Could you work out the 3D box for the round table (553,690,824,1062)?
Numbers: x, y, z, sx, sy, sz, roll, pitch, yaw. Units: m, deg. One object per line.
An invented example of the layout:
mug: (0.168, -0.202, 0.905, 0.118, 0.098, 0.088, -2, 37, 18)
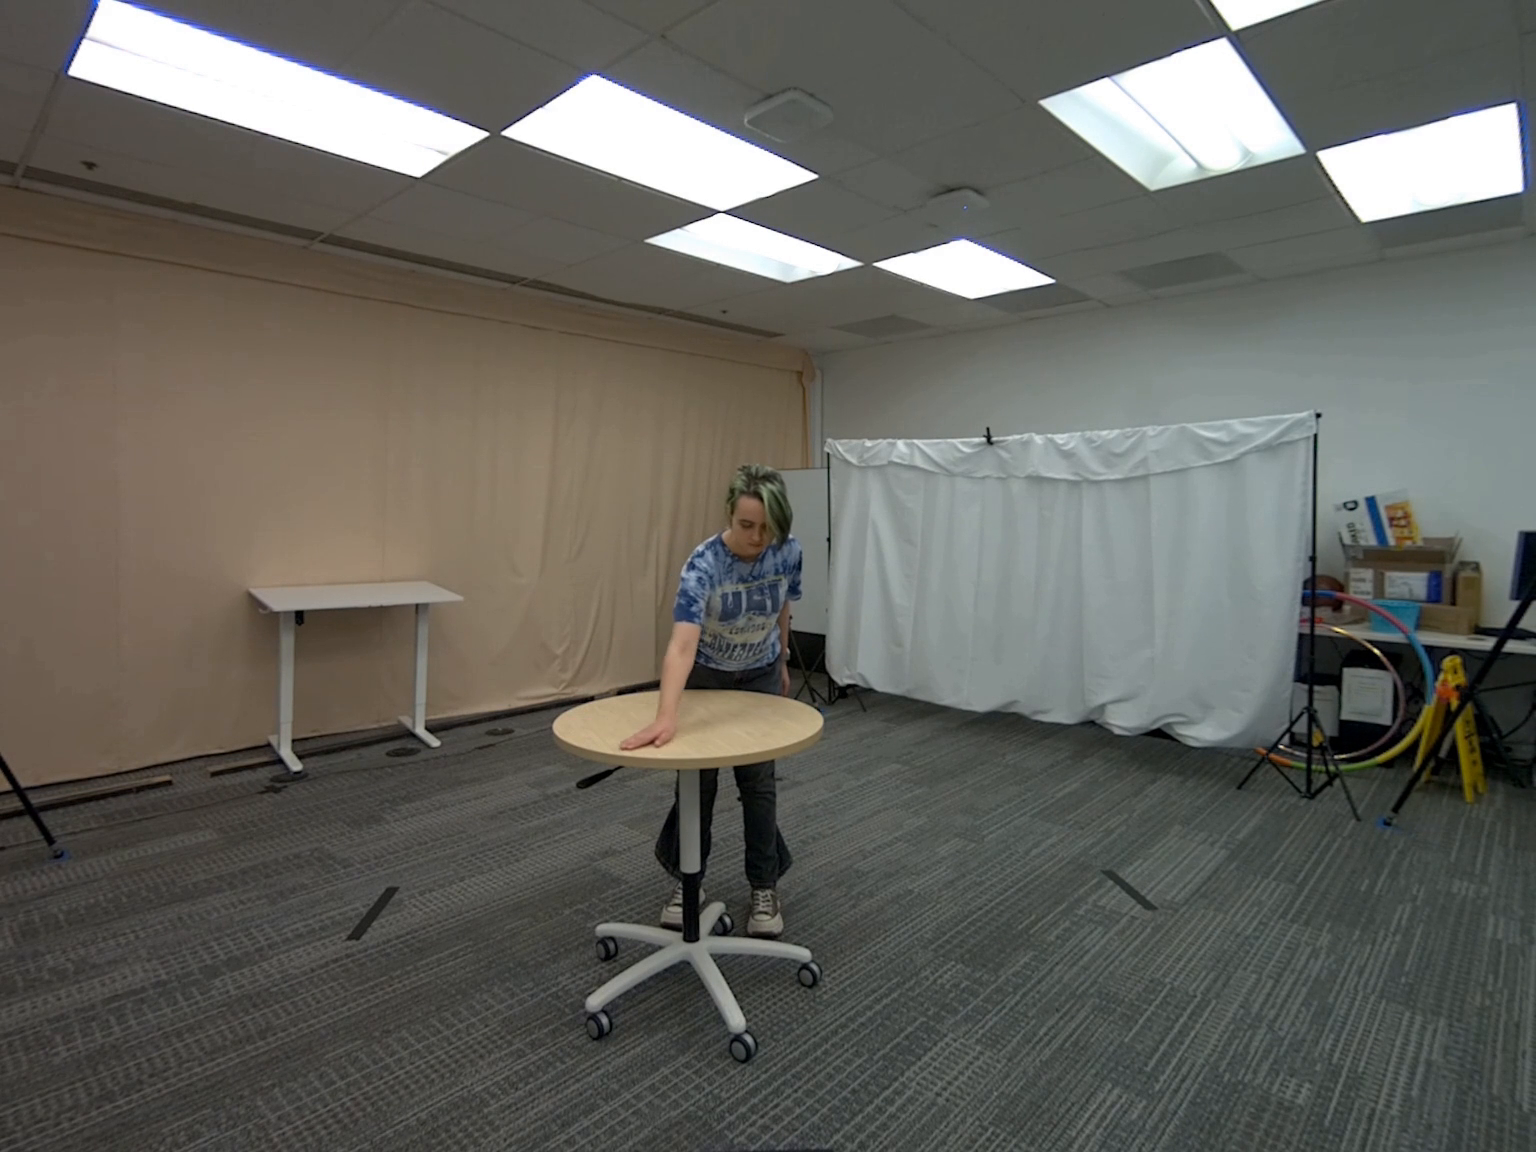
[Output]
round table: (-0.229, 0.796, 2.434, 0.784, 0.785, 0.788, 0, 4, -2)
